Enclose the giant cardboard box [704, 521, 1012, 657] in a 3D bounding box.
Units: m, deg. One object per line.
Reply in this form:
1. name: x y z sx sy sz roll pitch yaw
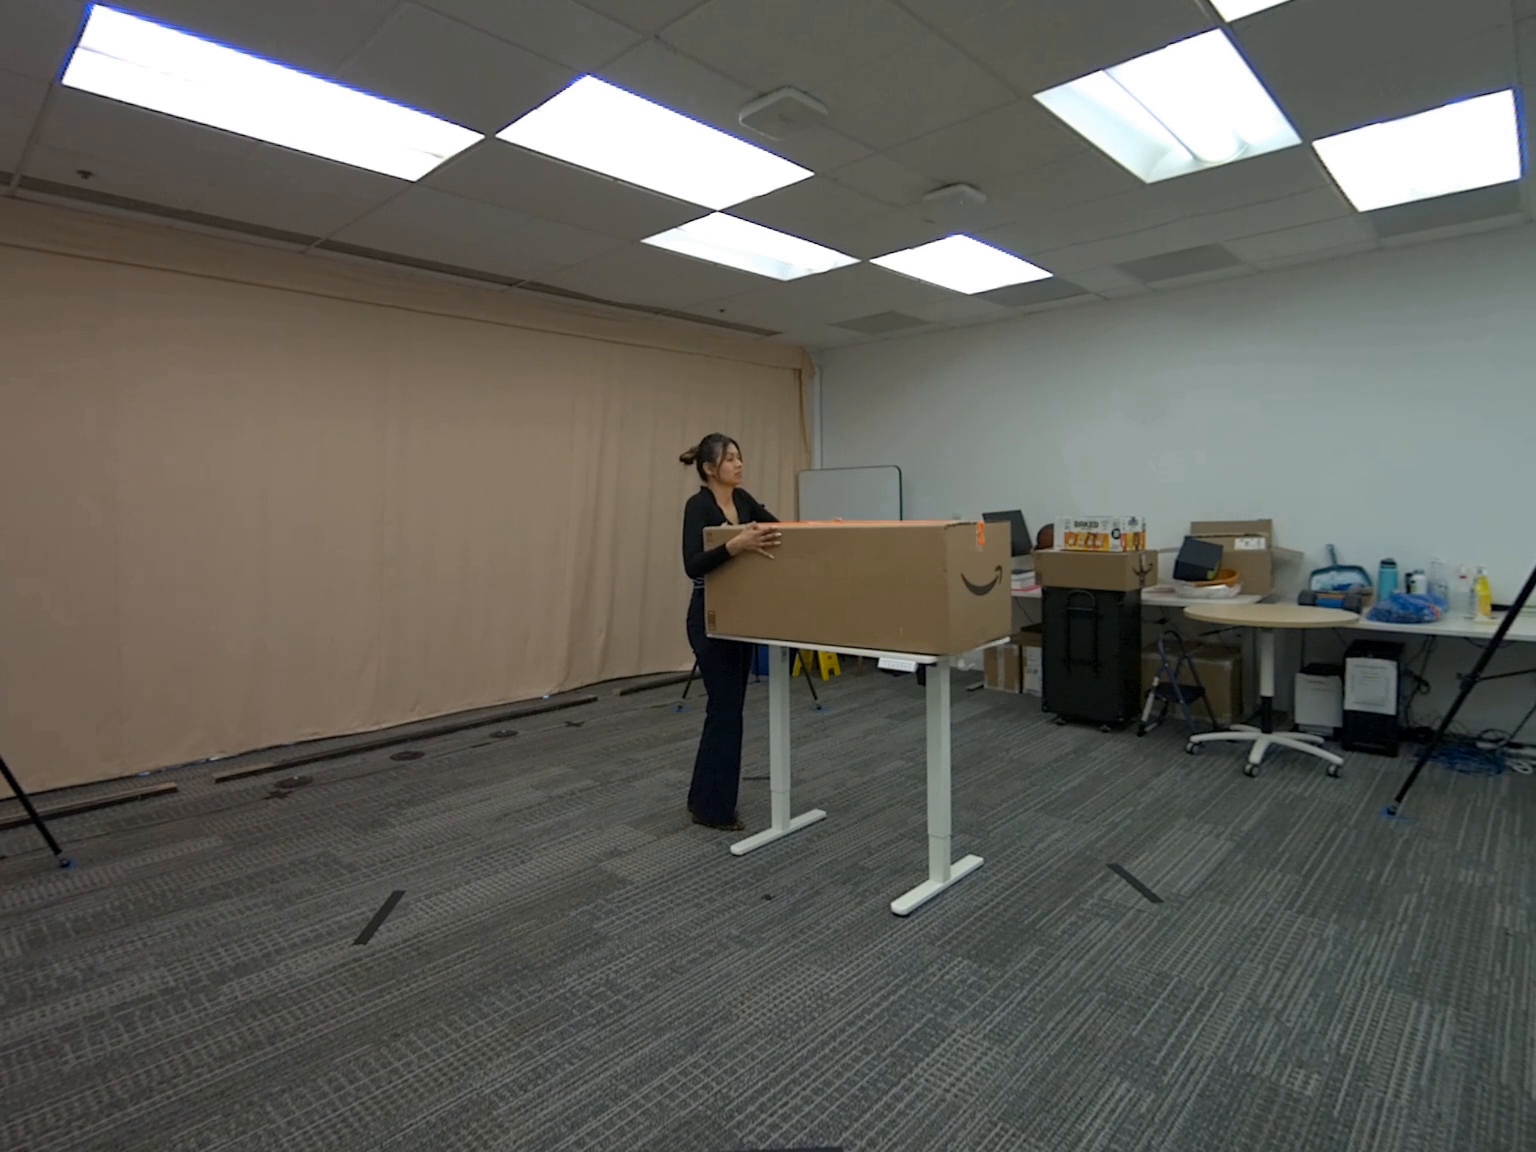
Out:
1. giant cardboard box: 0.331 0.018 3.228 1.058 0.425 0.560 1 4 38
